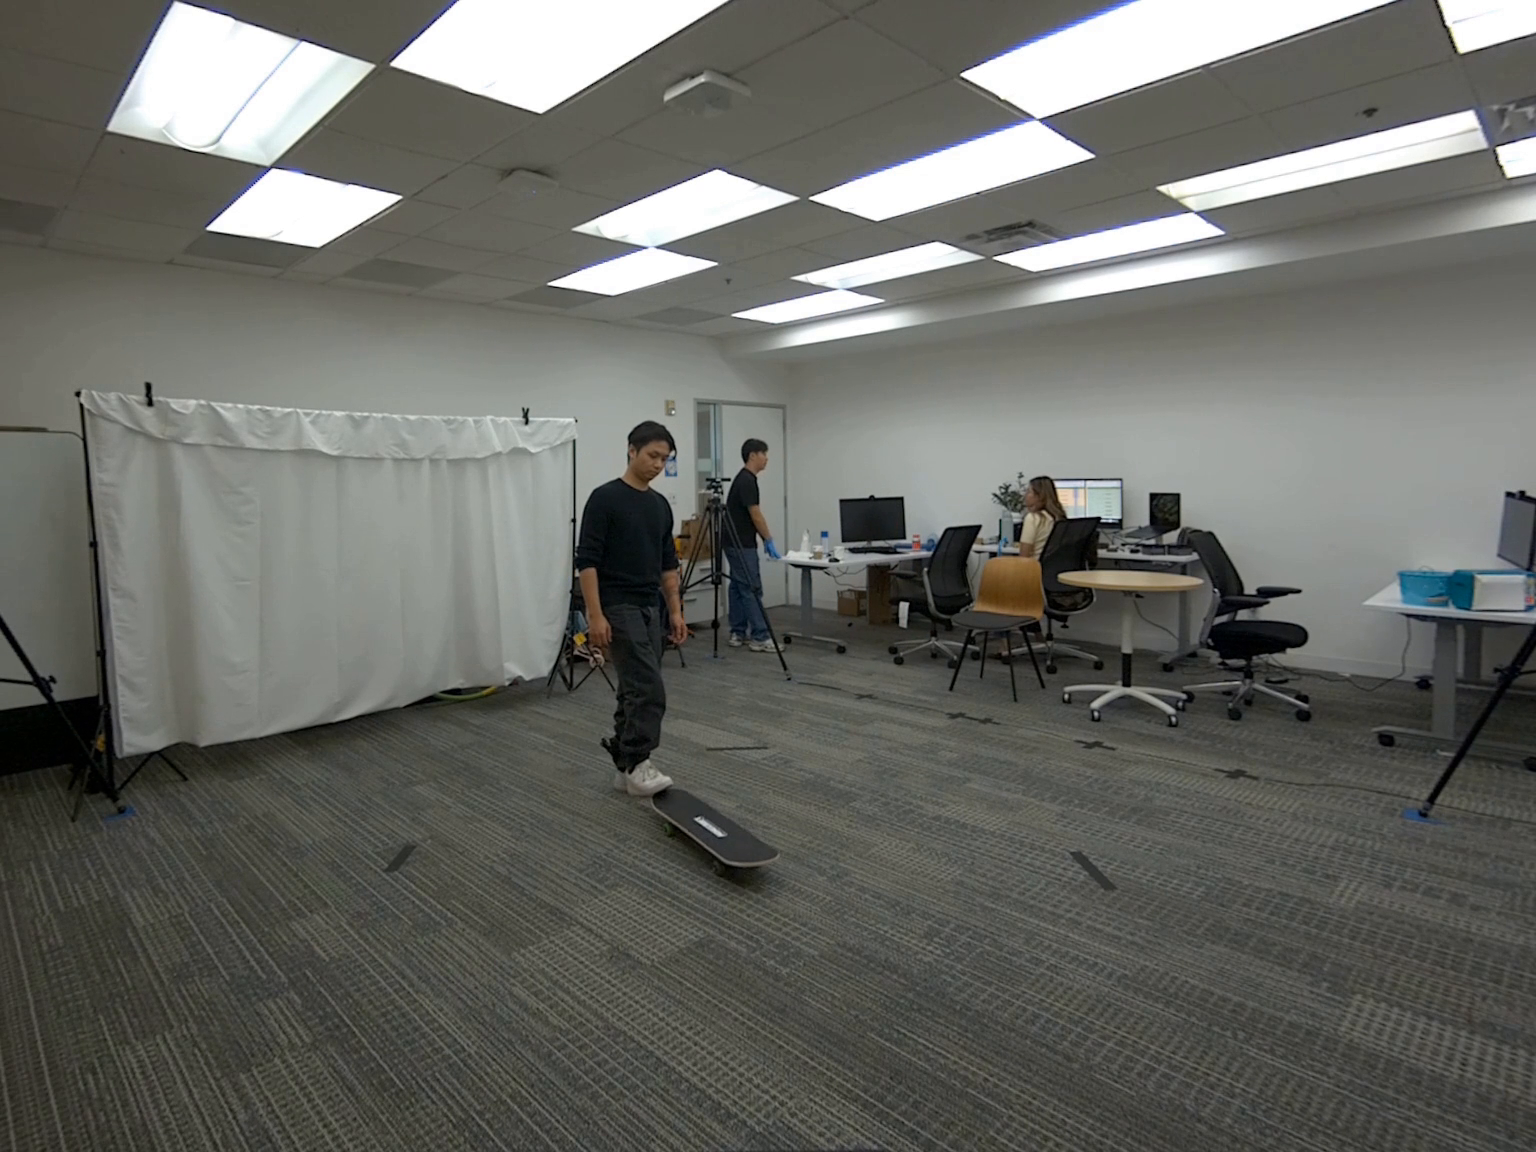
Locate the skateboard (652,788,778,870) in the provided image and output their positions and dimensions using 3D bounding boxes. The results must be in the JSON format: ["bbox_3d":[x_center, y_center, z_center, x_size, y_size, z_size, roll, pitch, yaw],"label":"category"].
[{"bbox_3d":[-0.210,0.978,3.218,0.189,0.110,0.808,-5,7,-32],"label":"skateboard"}]
